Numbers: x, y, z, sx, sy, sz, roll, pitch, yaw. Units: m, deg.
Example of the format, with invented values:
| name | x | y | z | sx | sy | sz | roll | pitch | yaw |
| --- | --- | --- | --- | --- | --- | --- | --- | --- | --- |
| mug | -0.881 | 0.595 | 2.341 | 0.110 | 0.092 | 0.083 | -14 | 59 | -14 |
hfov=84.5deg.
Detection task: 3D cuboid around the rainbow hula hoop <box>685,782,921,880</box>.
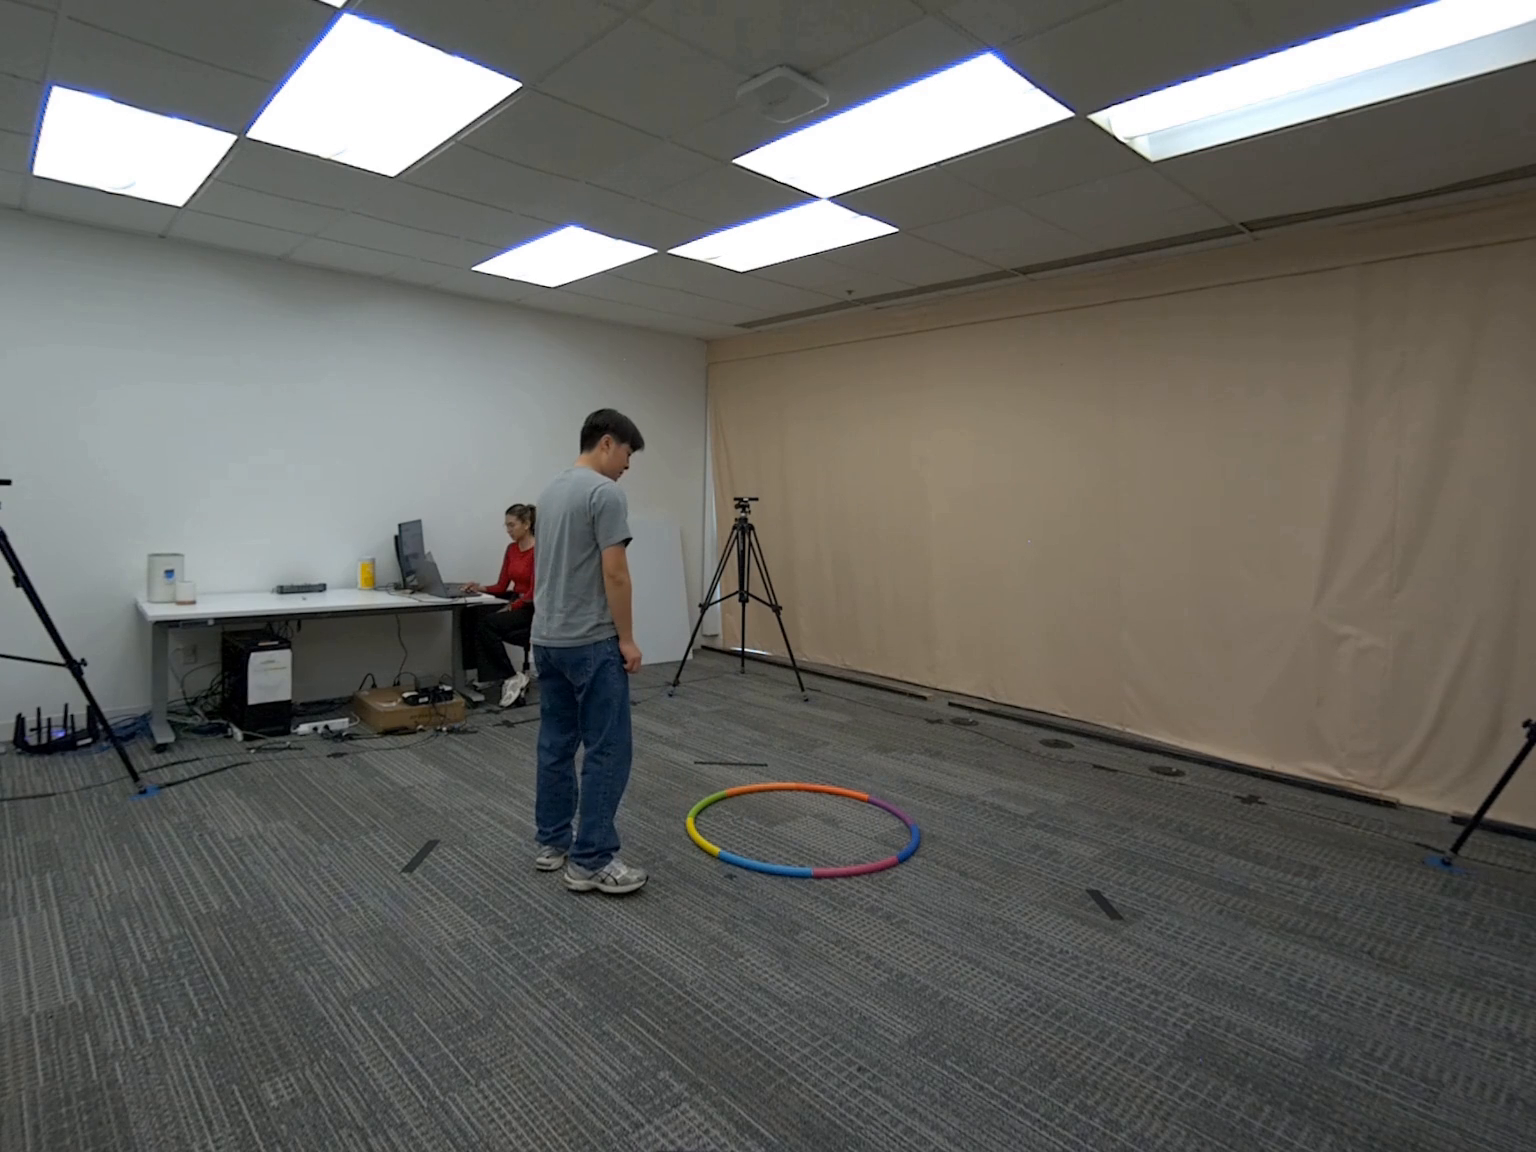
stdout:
| name | x | y | z | sx | sy | sz | roll | pitch | yaw |
| --- | --- | --- | --- | --- | --- | --- | --- | --- | --- |
| rainbow hula hoop | 0.126 | 1.042 | 3.586 | 0.978 | 0.035 | 0.982 | 2 | 5 | -1 |
